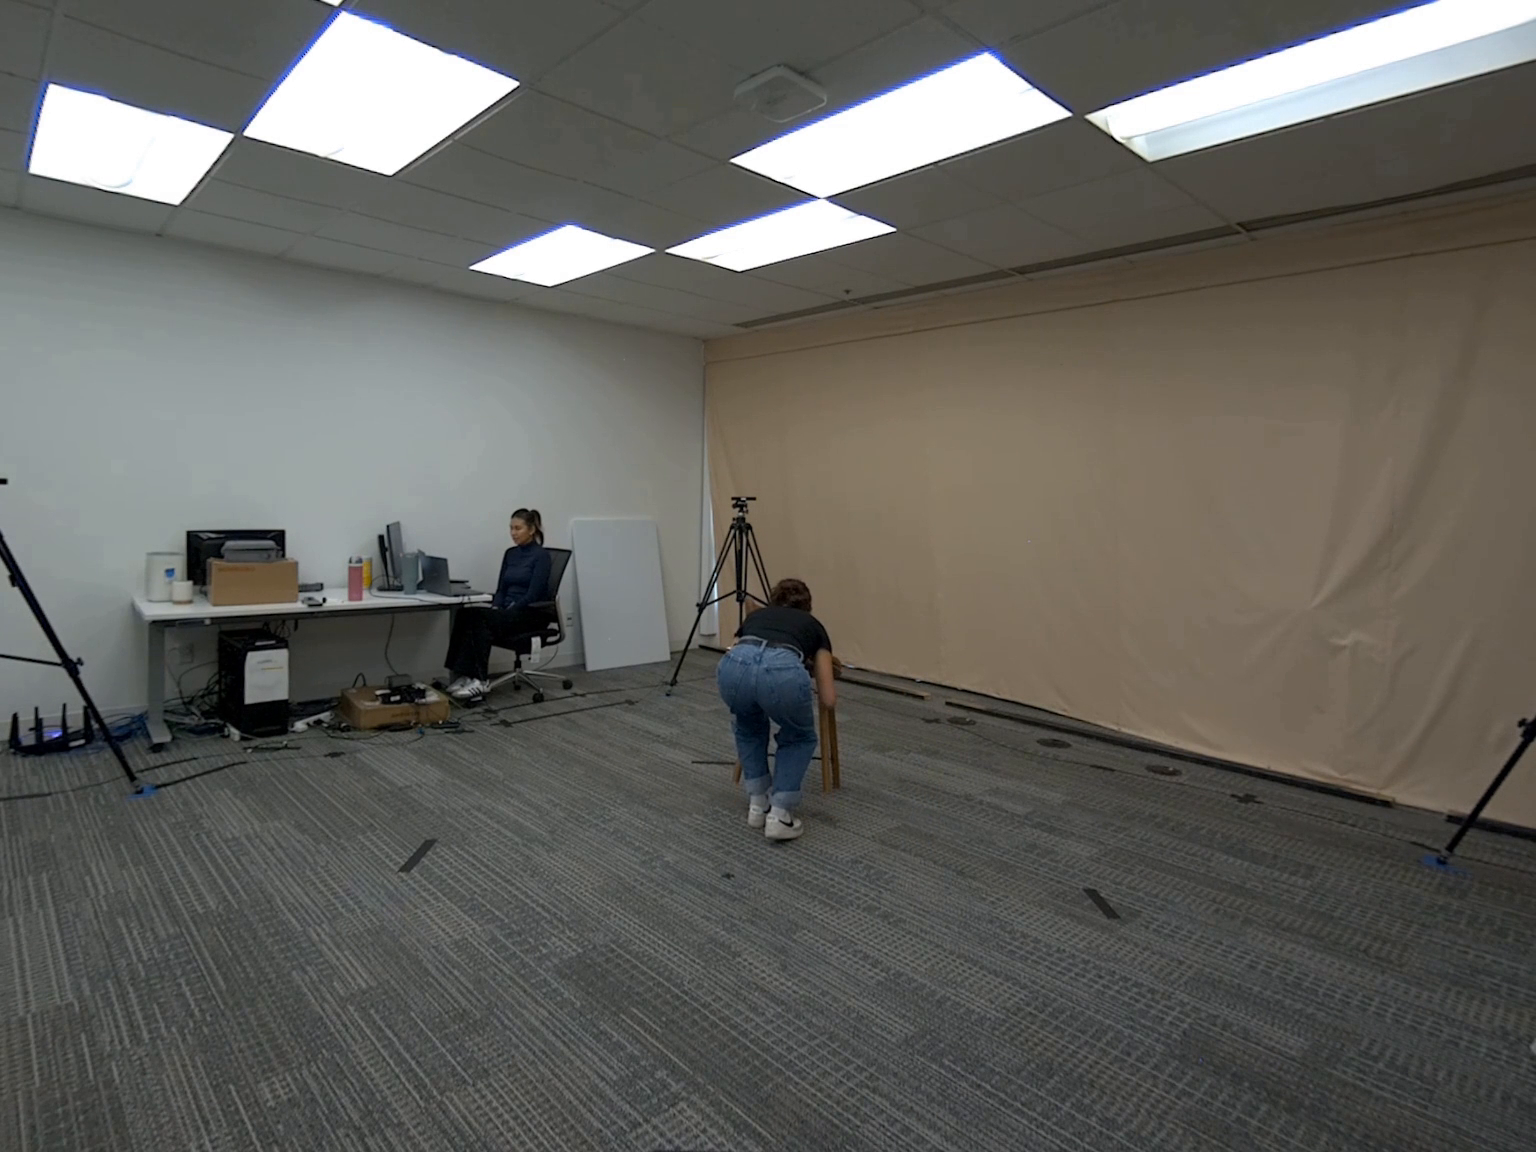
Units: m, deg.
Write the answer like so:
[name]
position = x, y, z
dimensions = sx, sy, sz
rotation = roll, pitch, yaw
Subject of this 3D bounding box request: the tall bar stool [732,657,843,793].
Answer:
[tall bar stool]
position = 0.117, 0.566, 4.053
dimensions = 0.472, 0.898, 0.447
rotation = 0, -13, 12
